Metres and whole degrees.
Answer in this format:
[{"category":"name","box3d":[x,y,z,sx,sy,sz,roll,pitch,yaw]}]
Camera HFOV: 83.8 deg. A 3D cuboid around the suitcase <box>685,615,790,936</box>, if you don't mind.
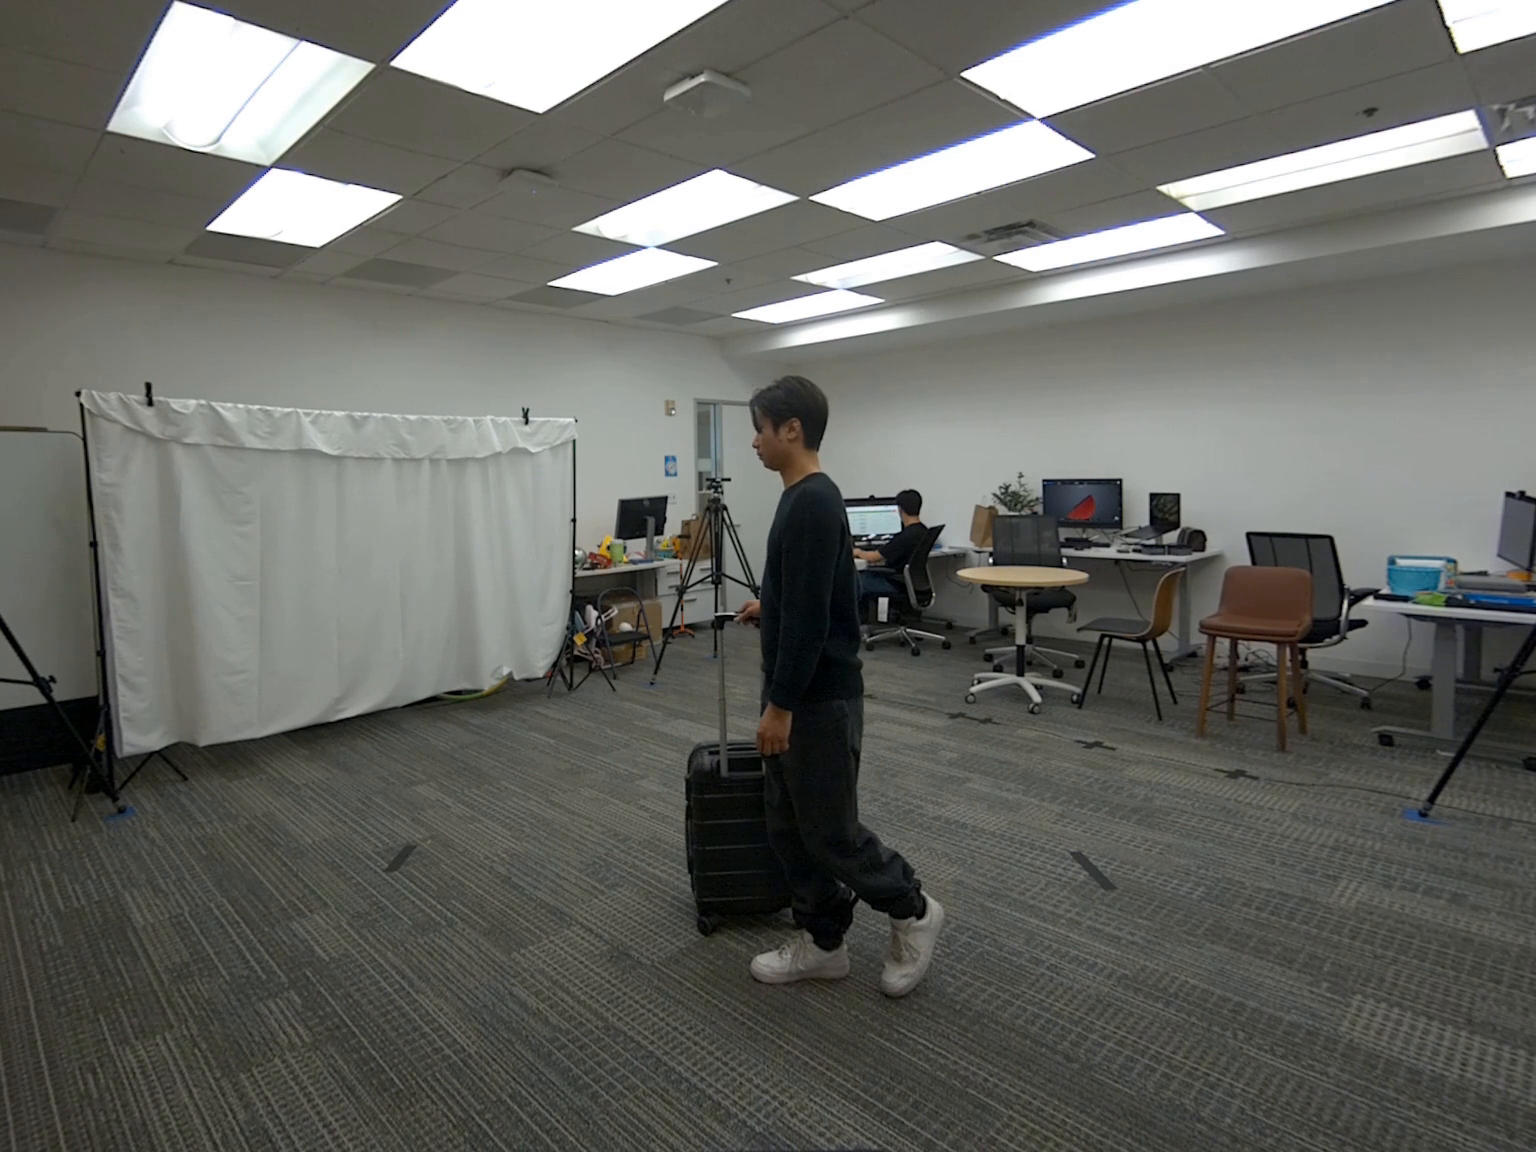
[{"category":"suitcase","box3d":[-0.083,0.606,2.743,0.383,0.978,0.258,-2,1,-3]}]
